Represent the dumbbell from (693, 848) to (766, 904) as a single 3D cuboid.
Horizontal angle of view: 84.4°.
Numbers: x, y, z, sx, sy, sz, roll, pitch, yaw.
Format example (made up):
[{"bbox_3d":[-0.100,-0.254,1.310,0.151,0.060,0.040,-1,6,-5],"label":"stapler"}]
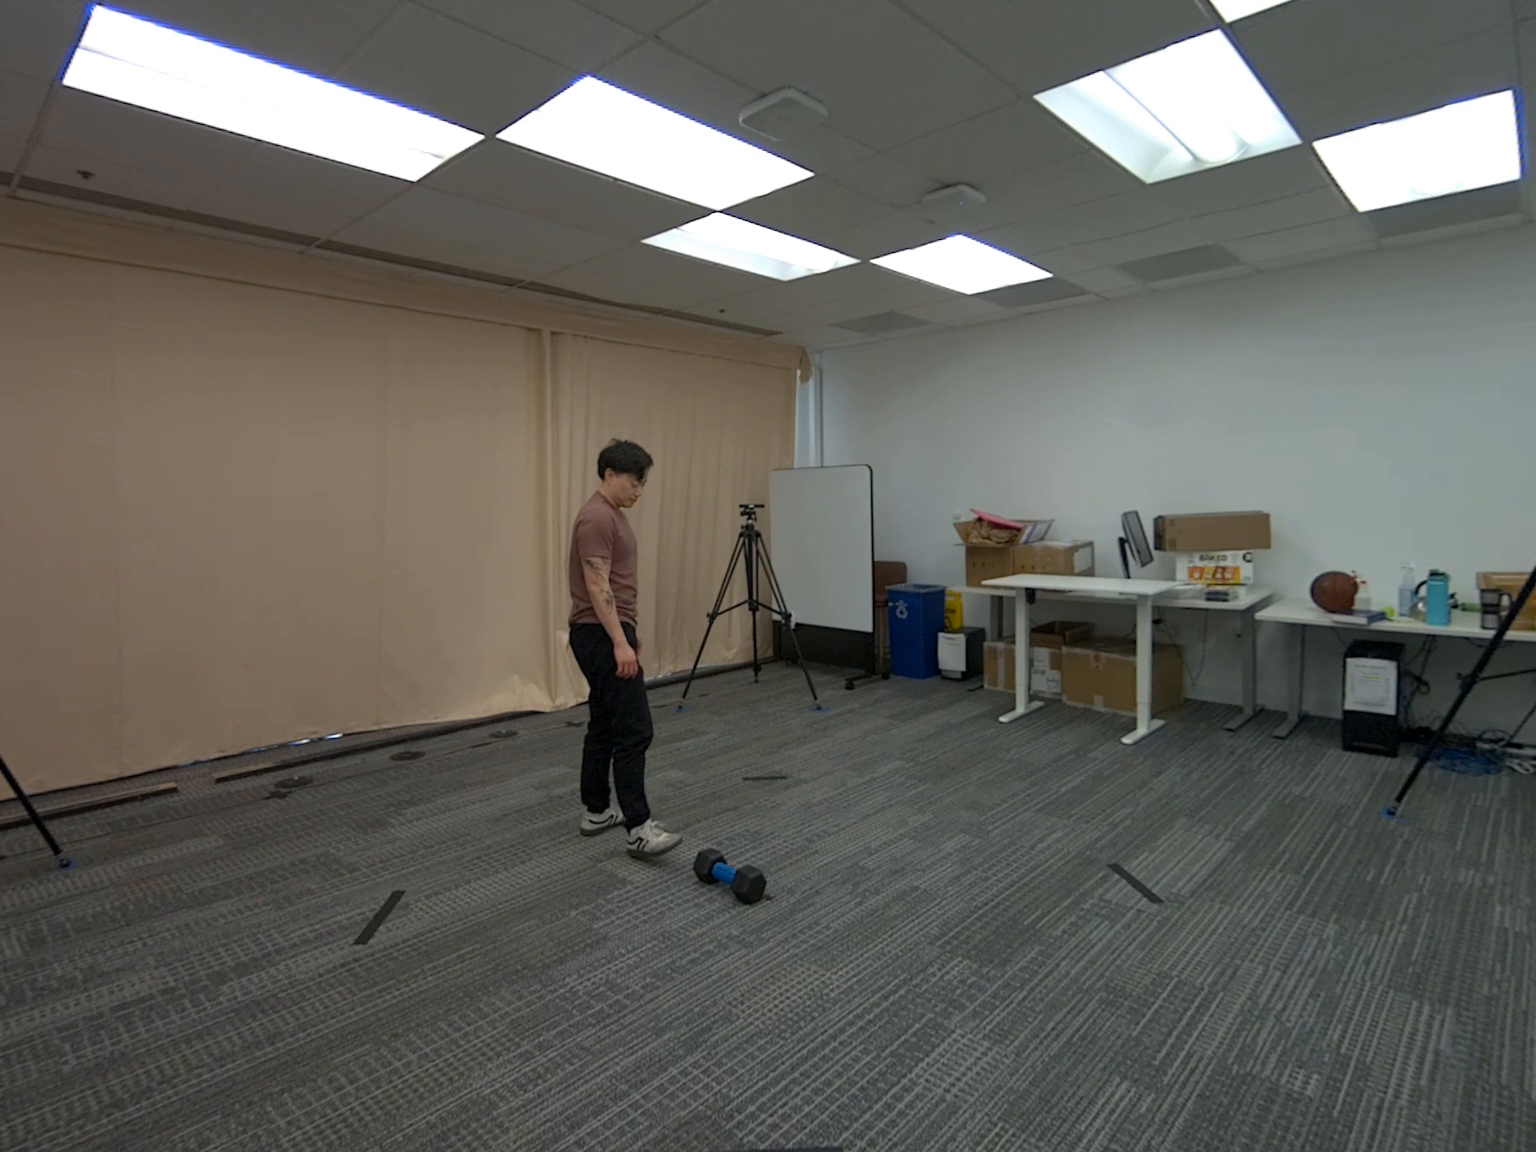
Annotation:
[{"bbox_3d":[-0.137,1.081,3.045,0.303,0.120,0.107,5,37,47],"label":"dumbbell"}]
